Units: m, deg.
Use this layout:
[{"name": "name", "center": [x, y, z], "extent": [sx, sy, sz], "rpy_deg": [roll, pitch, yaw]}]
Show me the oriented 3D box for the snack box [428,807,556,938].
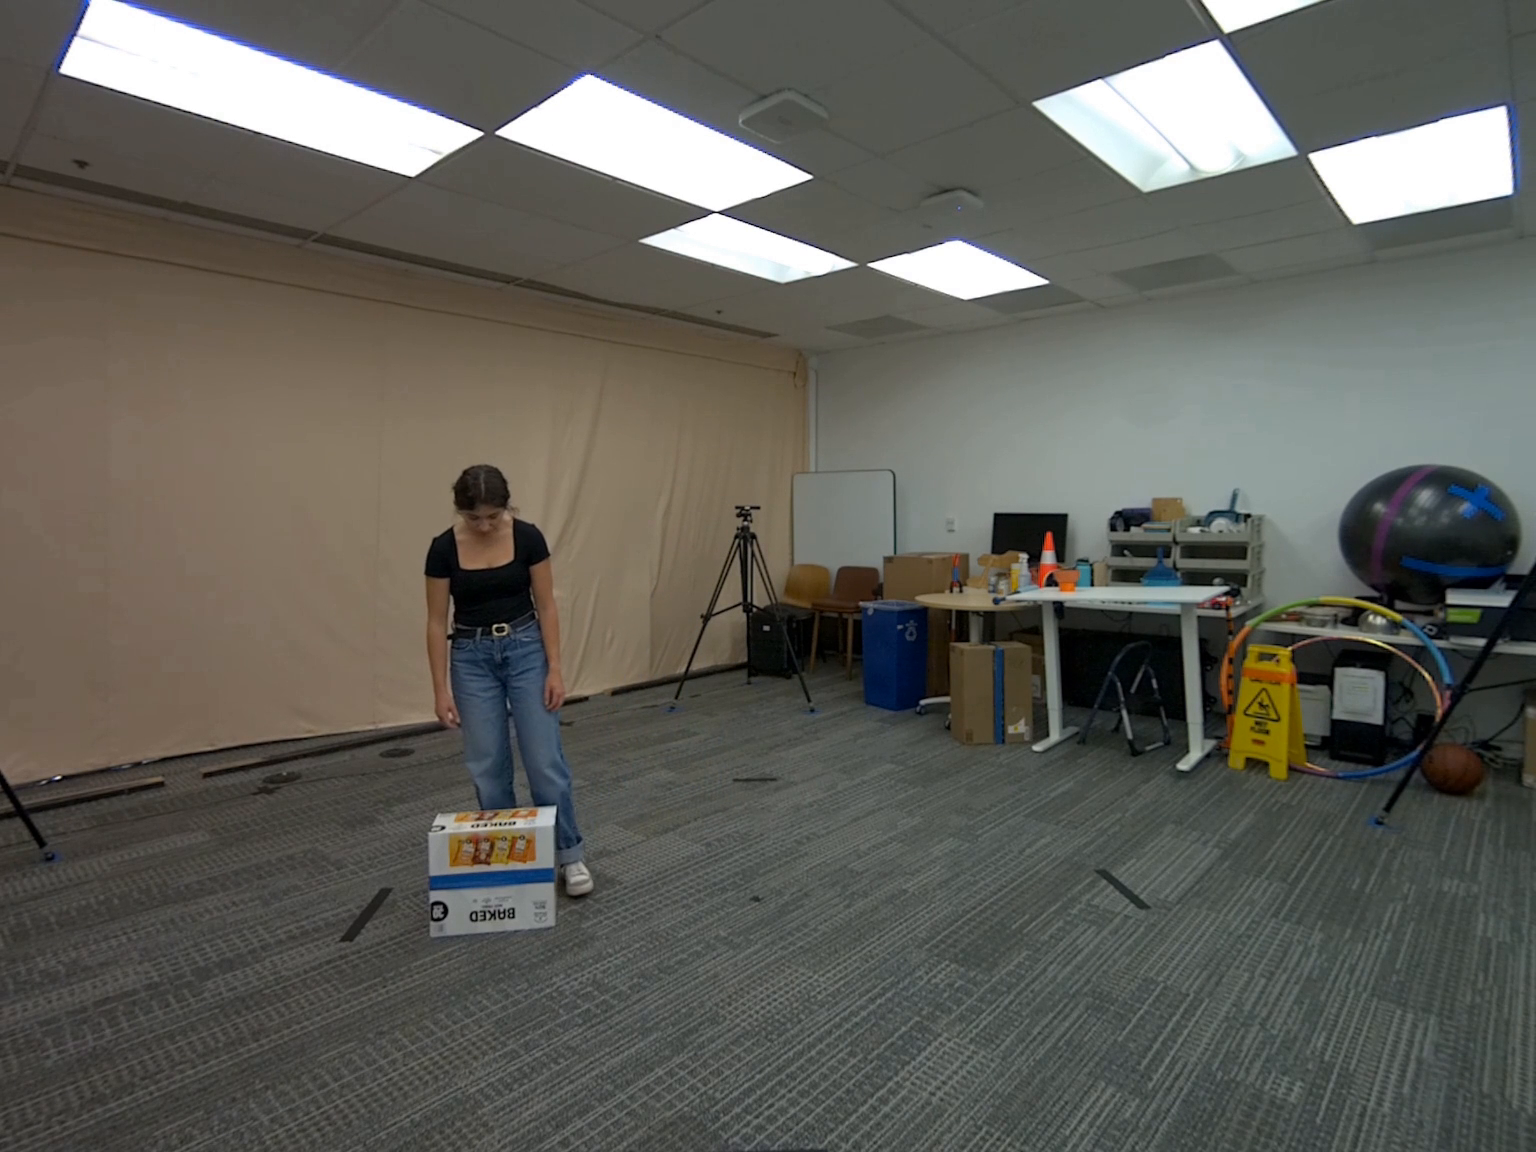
[{"name": "snack box", "center": [-0.925, 0.993, 2.852], "extent": [0.401, 0.340, 0.208], "rpy_deg": [-1, 1, -10]}]
